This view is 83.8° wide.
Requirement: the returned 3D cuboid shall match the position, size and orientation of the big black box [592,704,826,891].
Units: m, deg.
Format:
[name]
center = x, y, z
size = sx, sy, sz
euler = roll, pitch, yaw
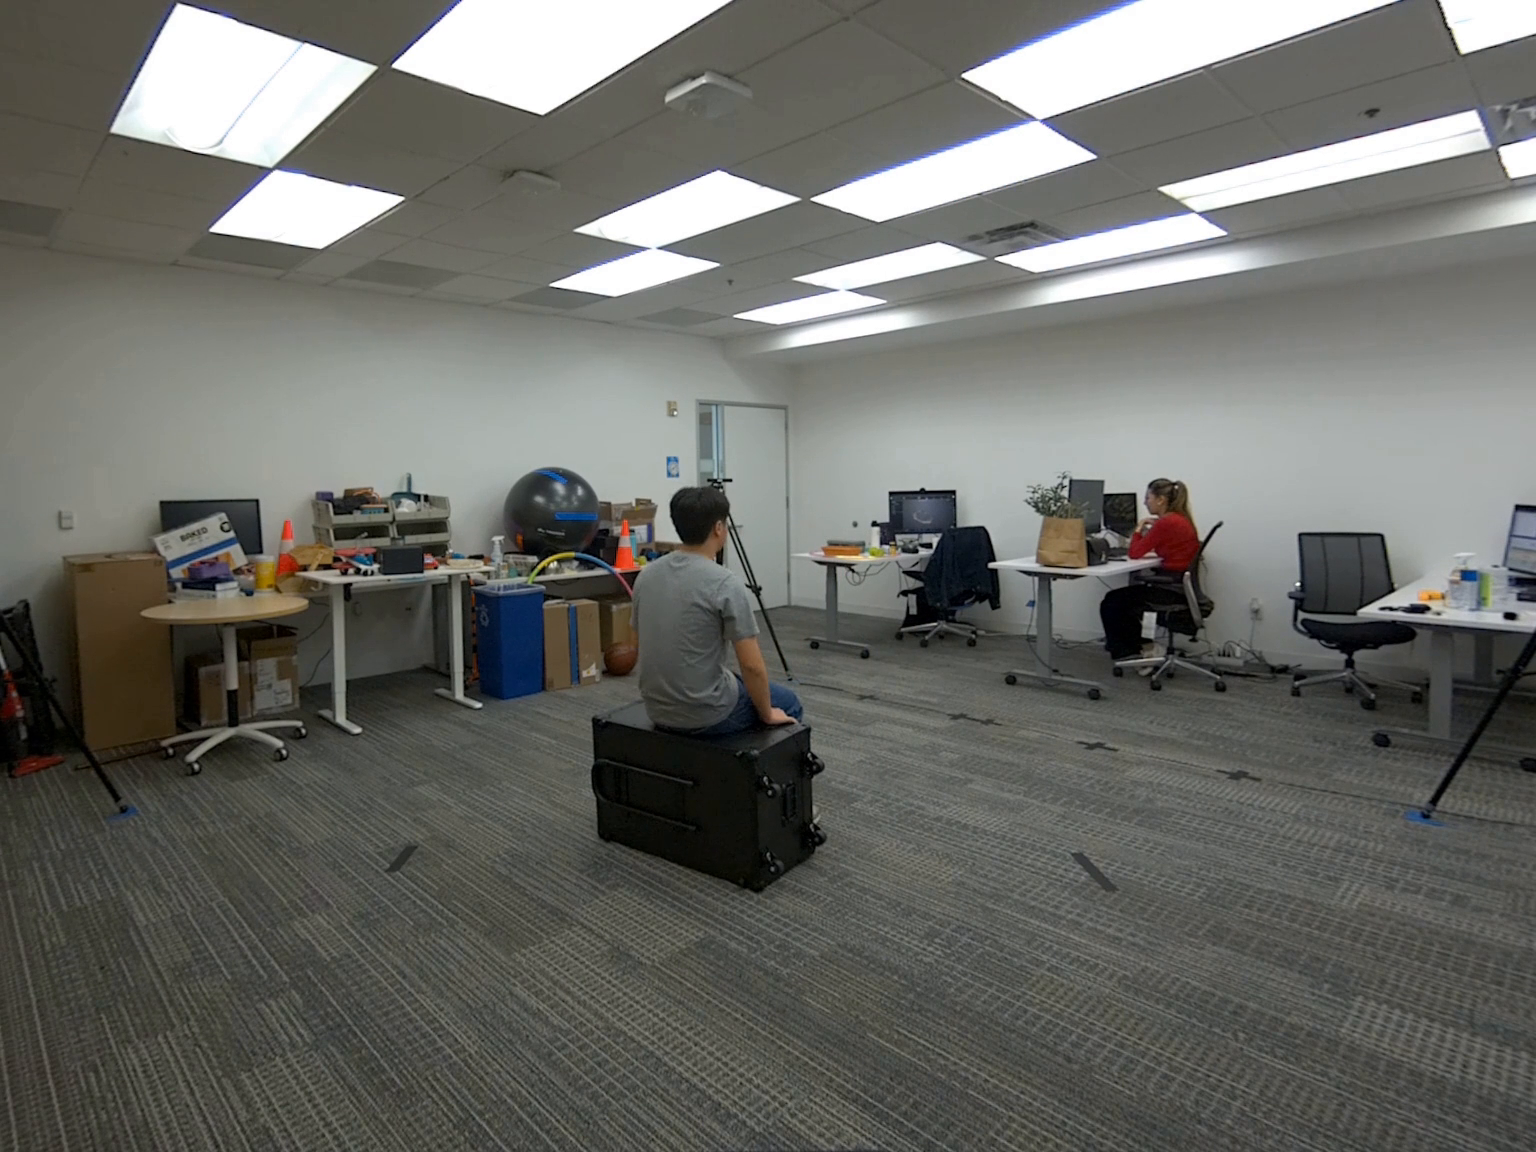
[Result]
[big black box]
center = -0.236, 0.782, 3.208
size = 0.887, 0.518, 0.387
euler = 4, 8, 36
